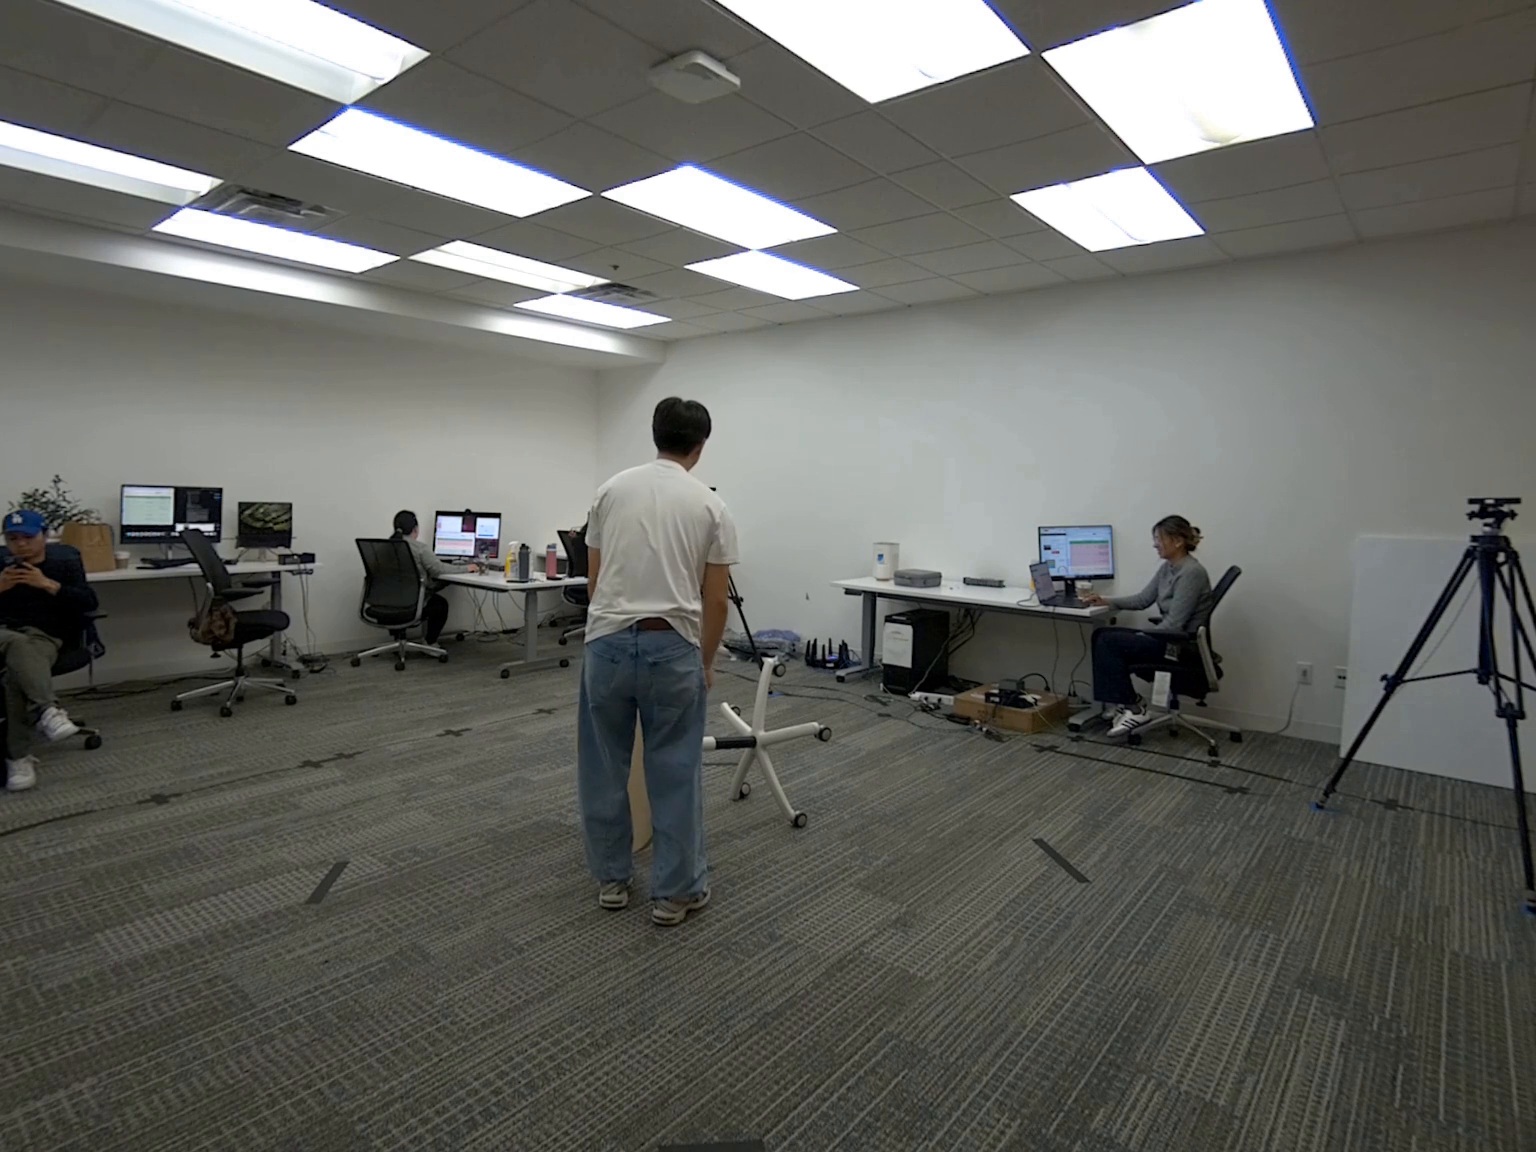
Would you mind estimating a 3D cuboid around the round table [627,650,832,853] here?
[{"bbox_3d":[-0.275,0.691,3.498,0.768,0.764,0.789,6,0,-37],"label":"round table"}]
